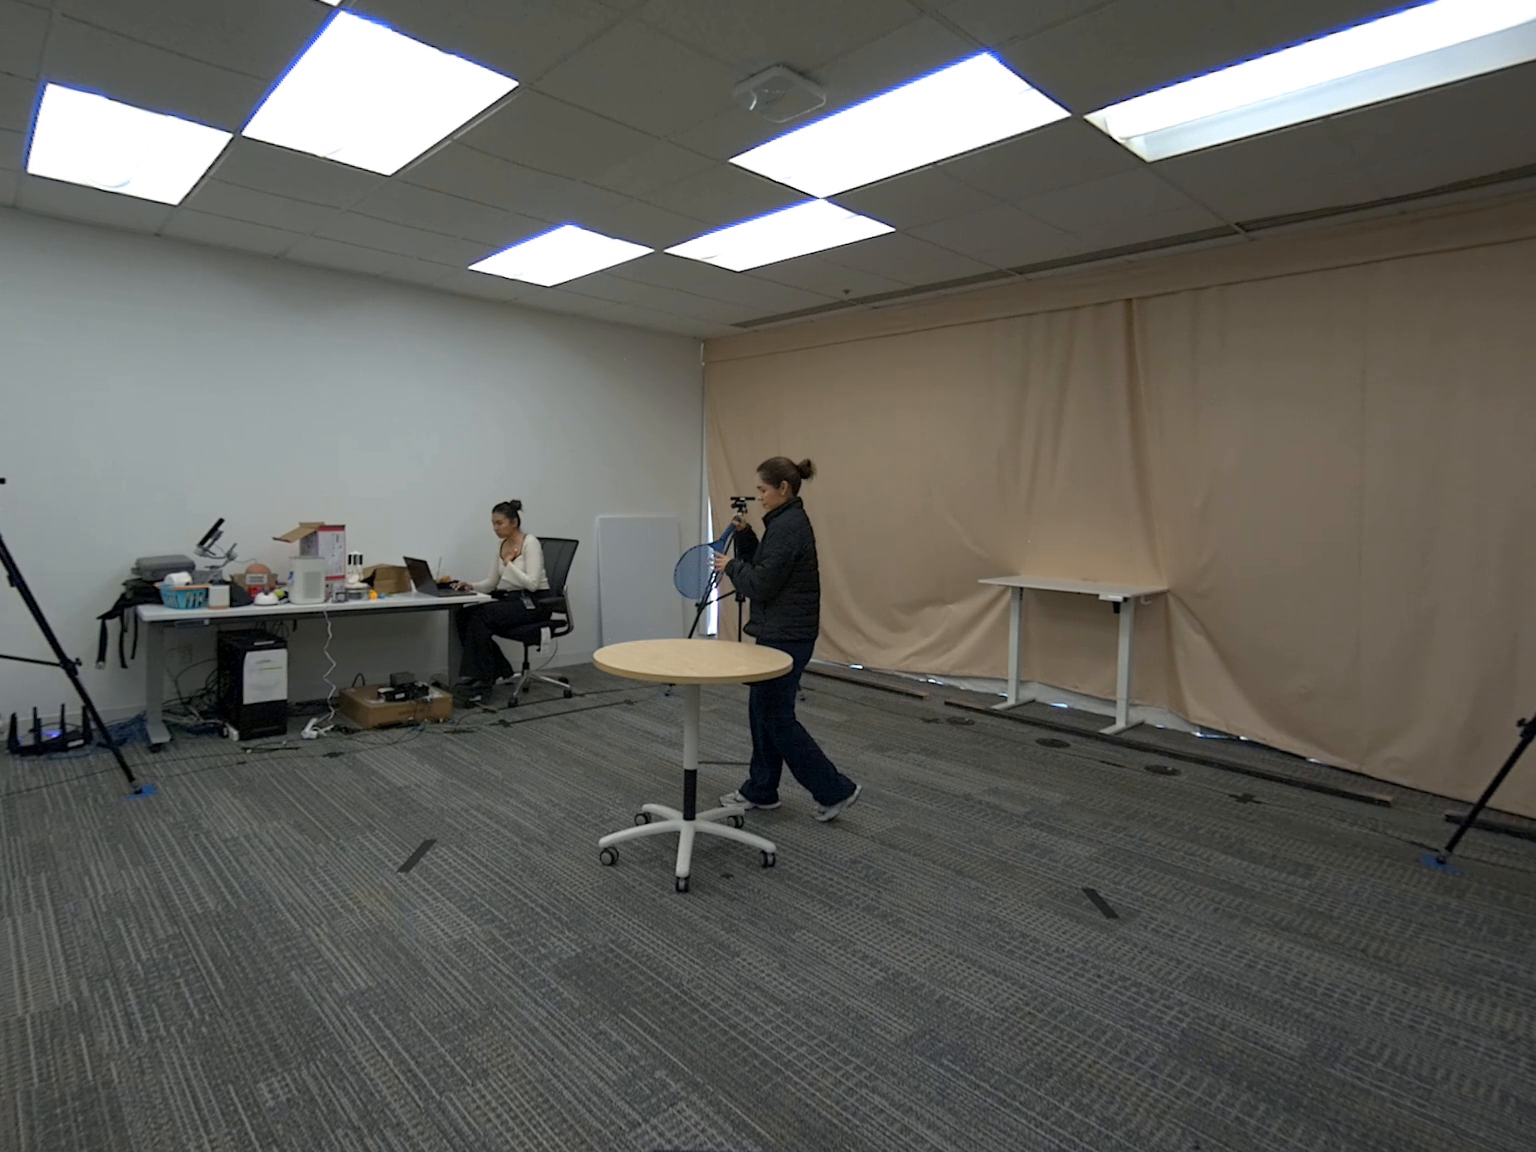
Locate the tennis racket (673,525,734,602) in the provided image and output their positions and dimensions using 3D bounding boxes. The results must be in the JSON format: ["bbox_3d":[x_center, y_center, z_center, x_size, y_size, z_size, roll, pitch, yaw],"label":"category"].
[{"bbox_3d":[-0.269,-0.095,3.821,0.215,0.432,0.031,37,4,4],"label":"tennis racket"}]
